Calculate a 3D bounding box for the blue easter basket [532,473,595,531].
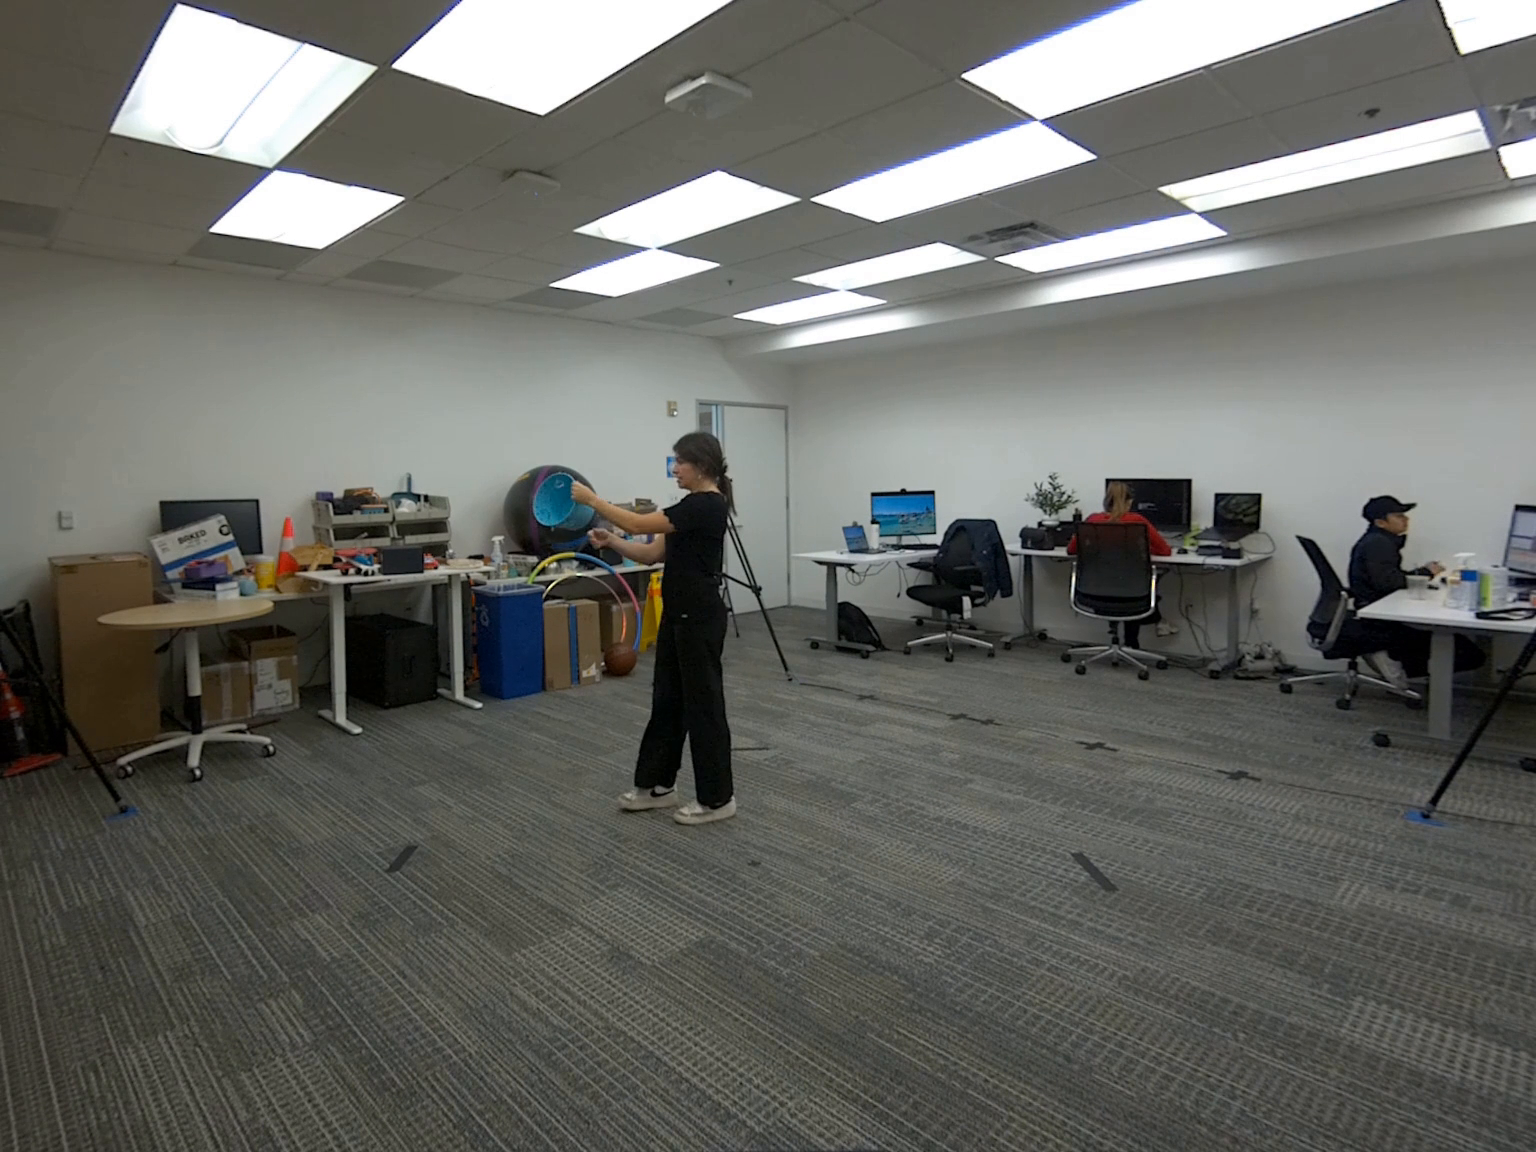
[{"bbox_3d":[-0.843,-0.301,3.578,0.250,0.246,0.150,2,-15,29],"label":"blue easter basket"}]
